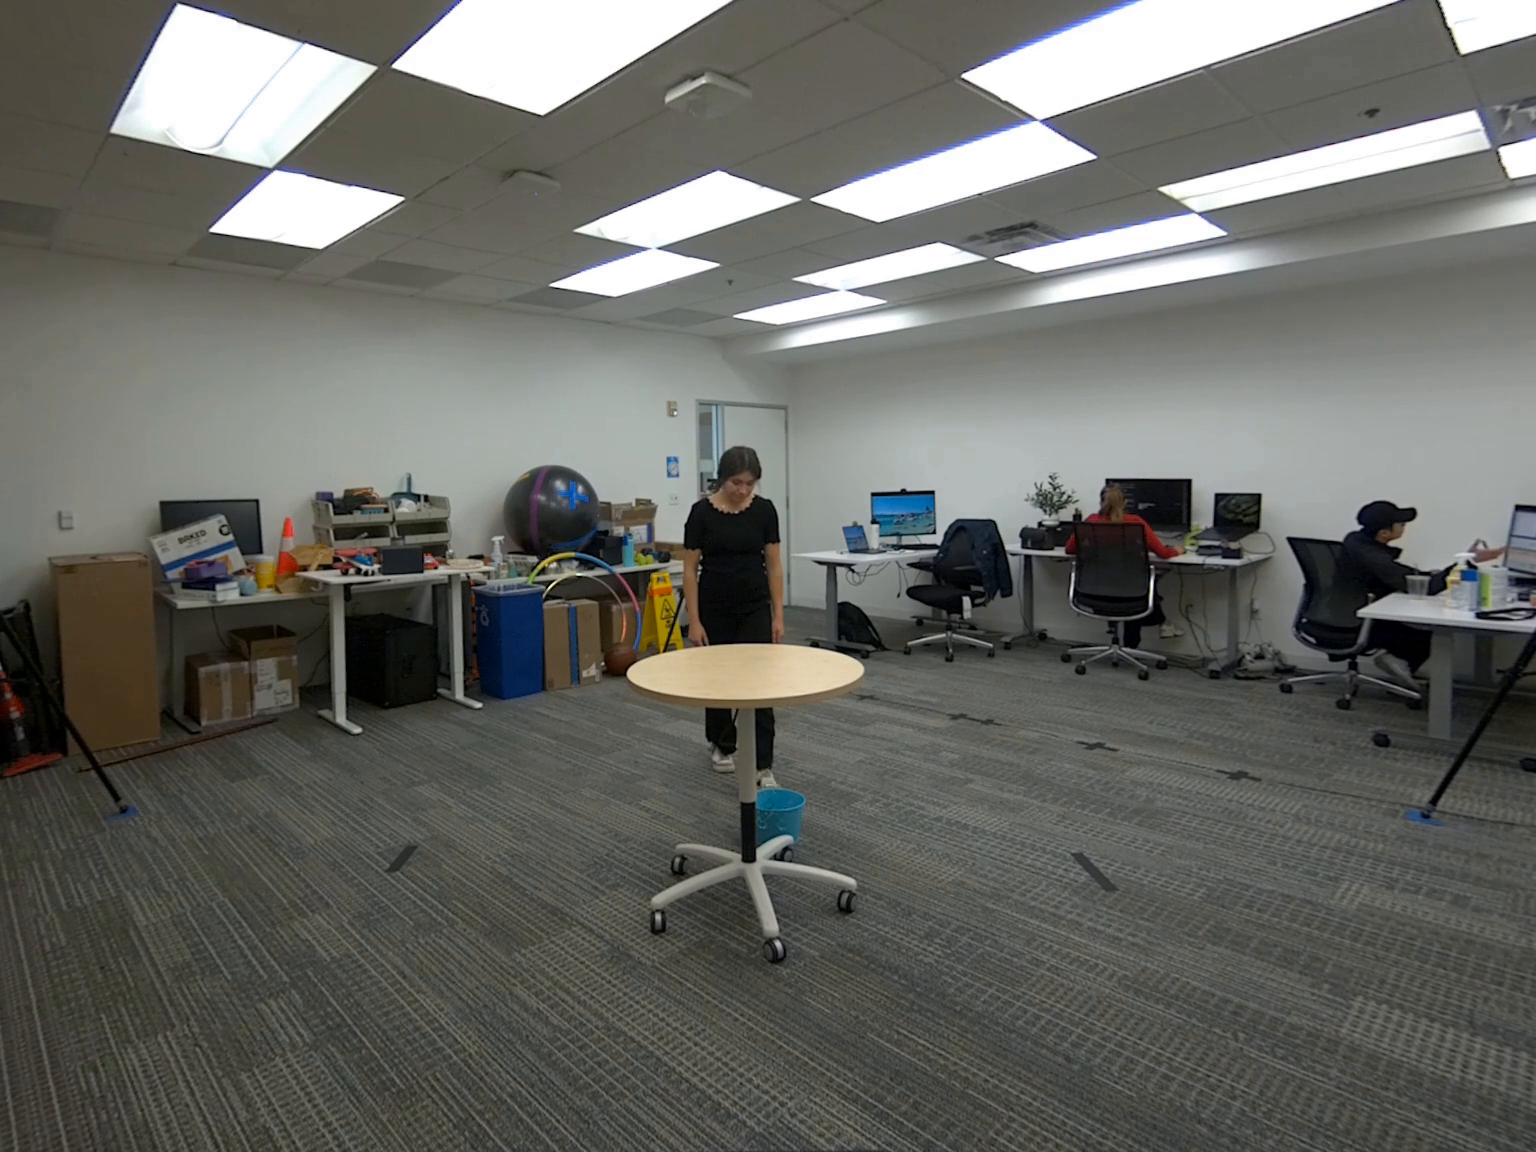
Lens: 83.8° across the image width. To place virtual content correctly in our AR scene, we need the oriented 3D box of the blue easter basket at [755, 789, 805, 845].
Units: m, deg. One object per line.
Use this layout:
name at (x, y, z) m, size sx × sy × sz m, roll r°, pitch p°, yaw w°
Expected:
blue easter basket at (0.027, 0.940, 3.326) m, size 0.243 × 0.155 × 0.245 m, roll 0°, pitch 5°, yaw -2°
